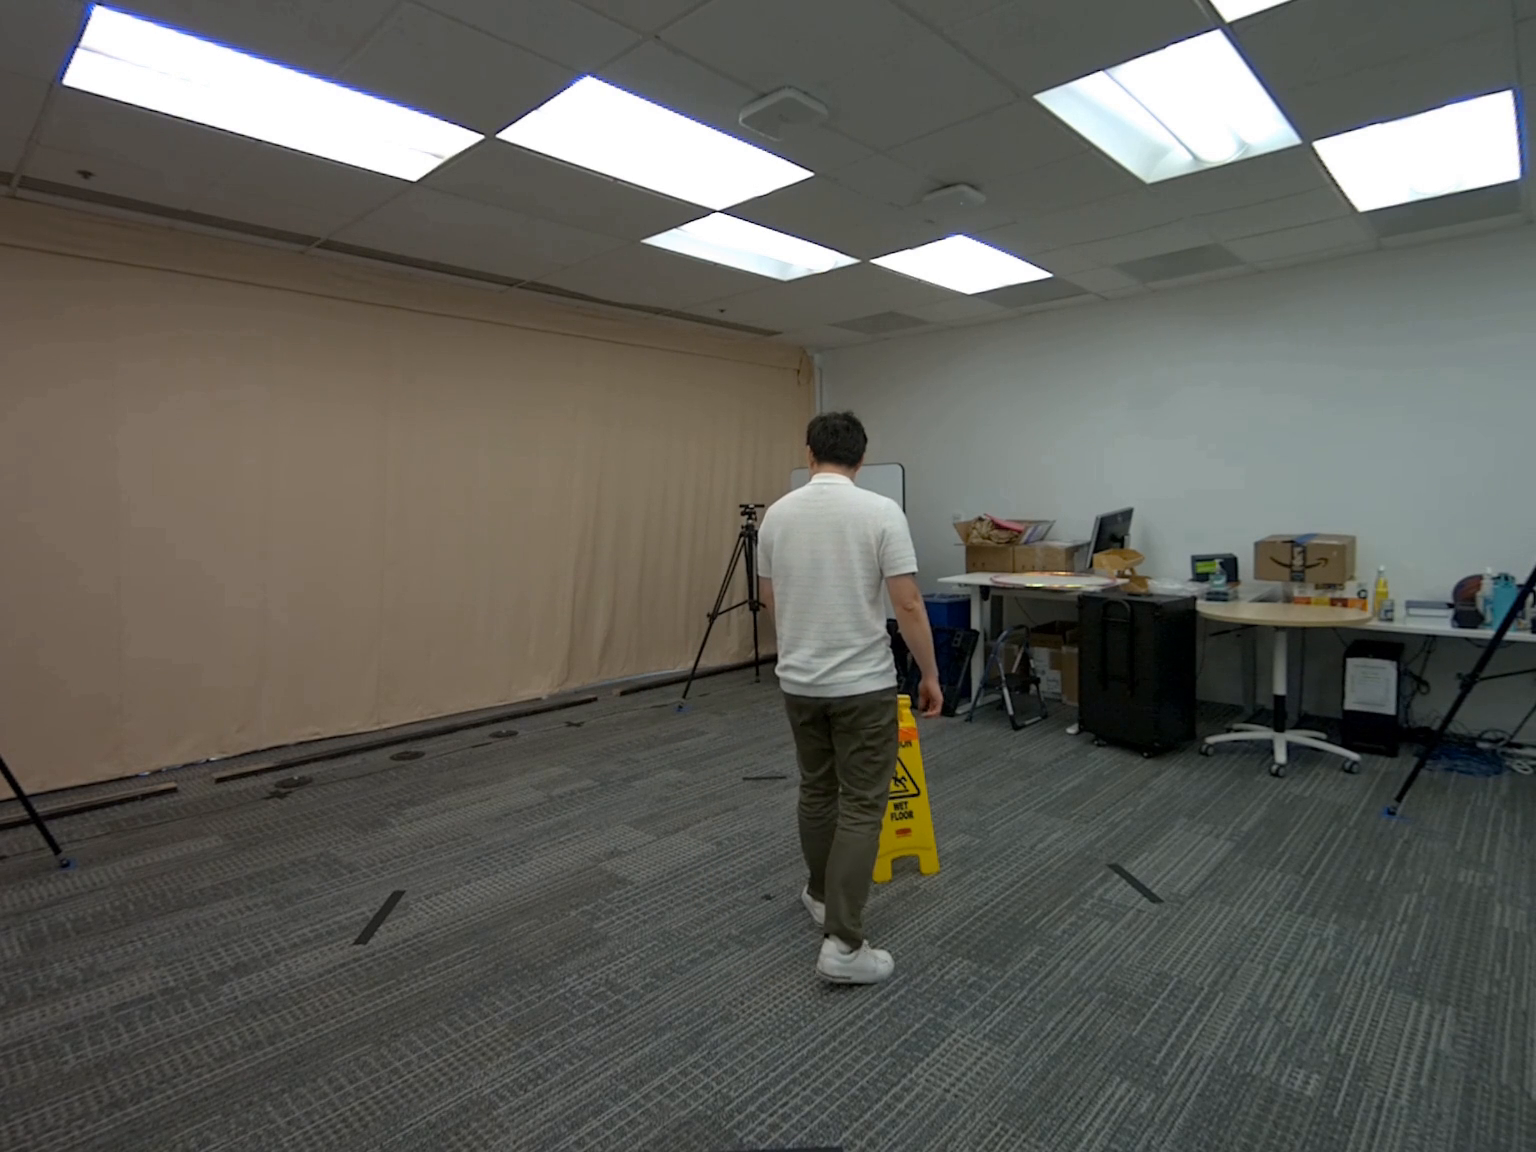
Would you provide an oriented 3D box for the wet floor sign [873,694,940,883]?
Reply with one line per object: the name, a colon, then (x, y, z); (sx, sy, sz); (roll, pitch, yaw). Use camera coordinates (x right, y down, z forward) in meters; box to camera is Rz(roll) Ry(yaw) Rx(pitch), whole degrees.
wet floor sign: (0.459, 0.784, 3.249); (0.276, 0.645, 0.296); (-1, 3, -21)
